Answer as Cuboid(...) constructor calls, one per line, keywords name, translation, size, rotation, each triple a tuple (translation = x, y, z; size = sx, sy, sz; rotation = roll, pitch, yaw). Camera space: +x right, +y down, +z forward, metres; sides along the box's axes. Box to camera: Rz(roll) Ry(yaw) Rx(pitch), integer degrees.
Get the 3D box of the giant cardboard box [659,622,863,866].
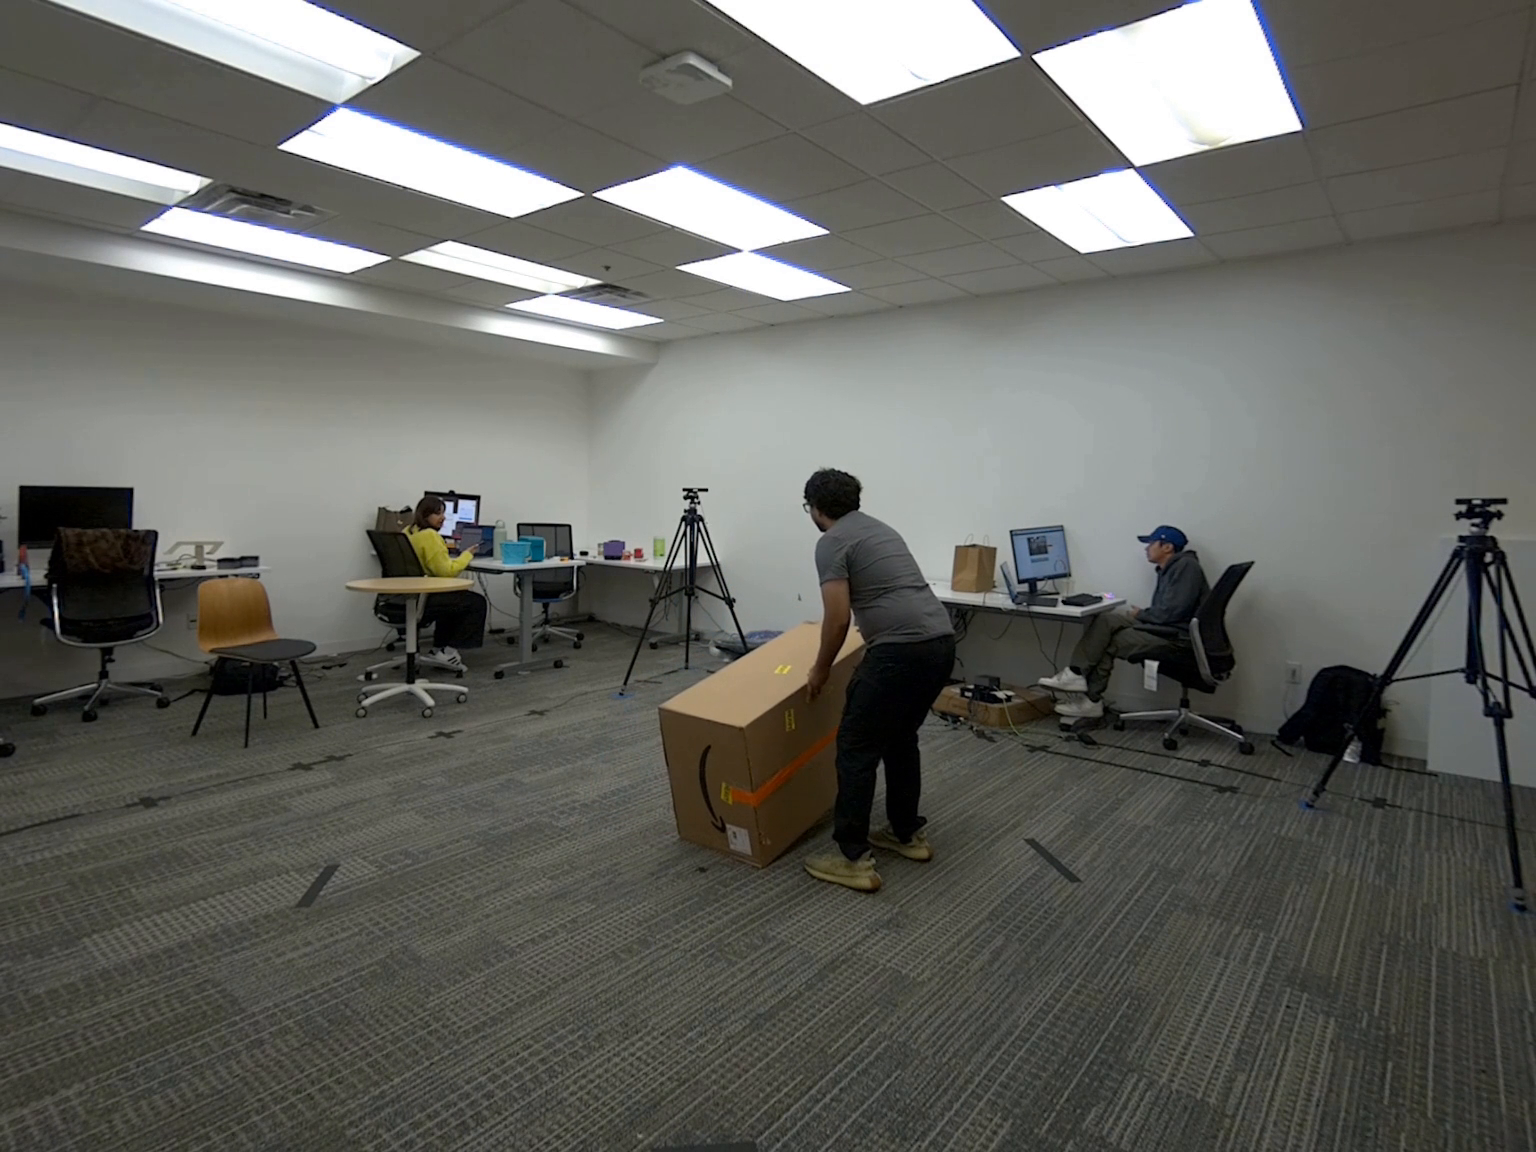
Cuboid(name="giant cardboard box", translation=(0.064, 0.642, 3.565), size=(0.440, 0.569, 1.007), rotation=(4, 19, 38))
